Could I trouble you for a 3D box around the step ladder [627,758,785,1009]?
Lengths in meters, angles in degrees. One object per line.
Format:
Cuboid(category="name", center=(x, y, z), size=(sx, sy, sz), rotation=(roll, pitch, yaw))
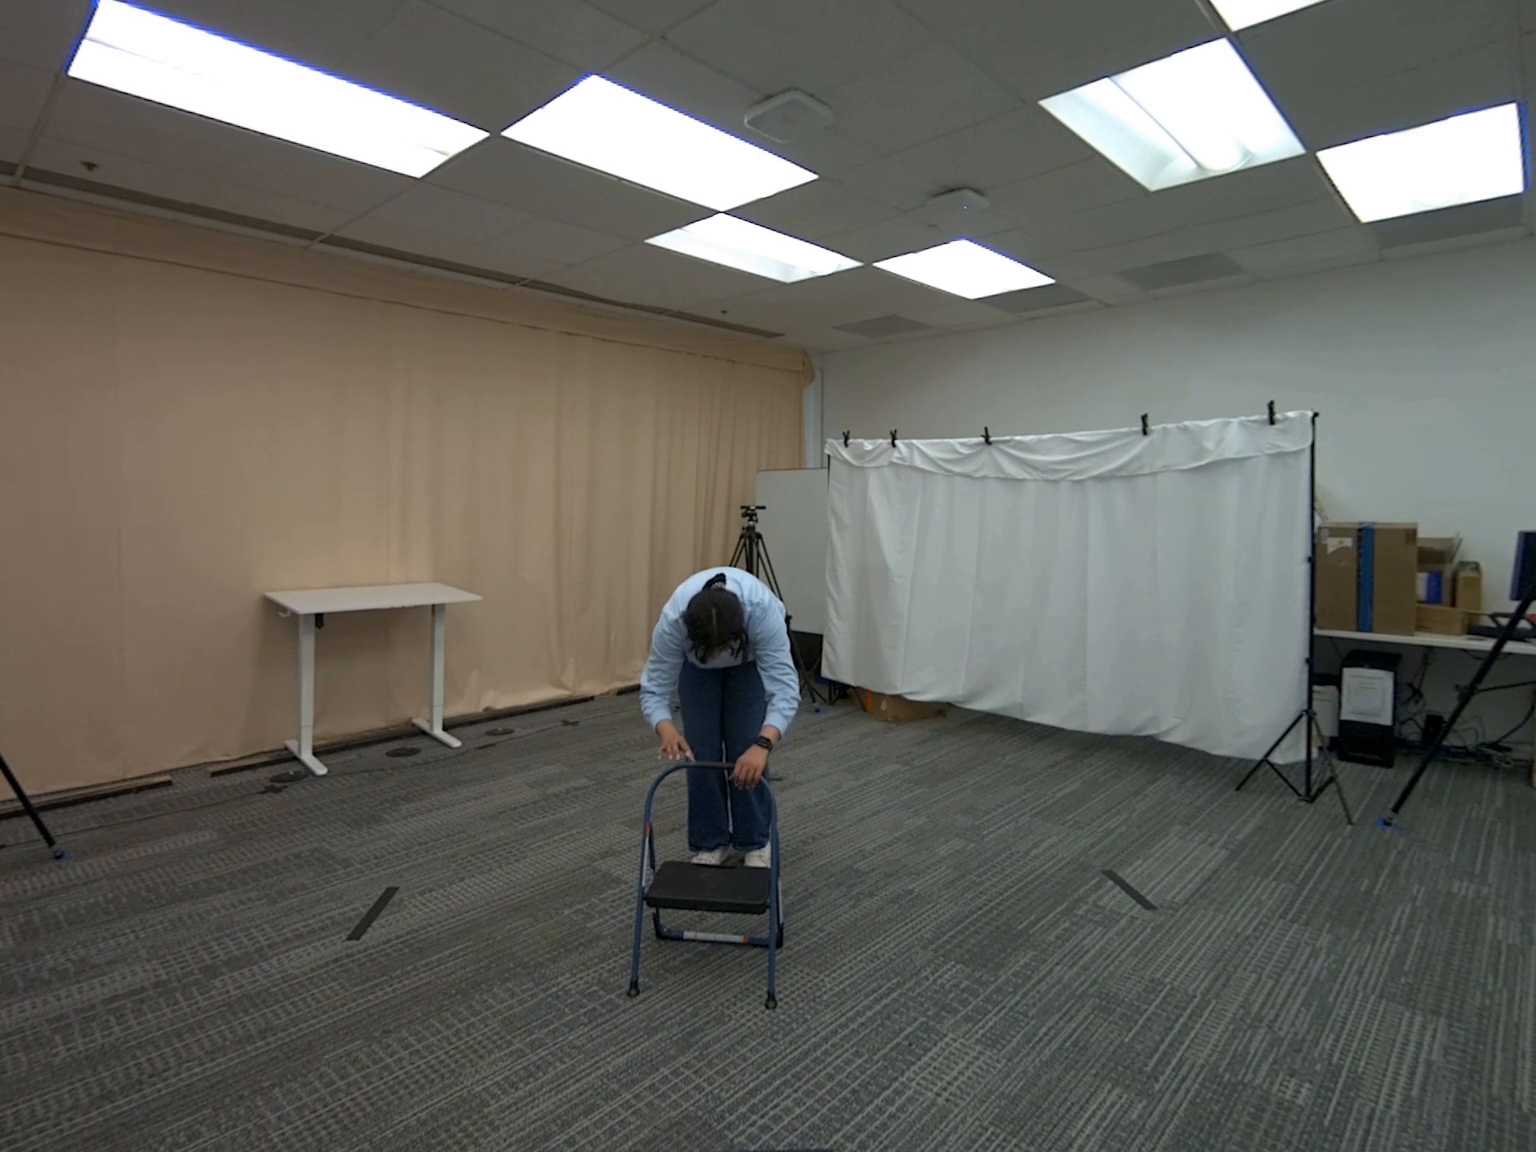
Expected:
Cuboid(category="step ladder", center=(-0.172, 0.876, 2.519), size=(0.435, 0.605, 0.347), rotation=(1, 3, 8))
